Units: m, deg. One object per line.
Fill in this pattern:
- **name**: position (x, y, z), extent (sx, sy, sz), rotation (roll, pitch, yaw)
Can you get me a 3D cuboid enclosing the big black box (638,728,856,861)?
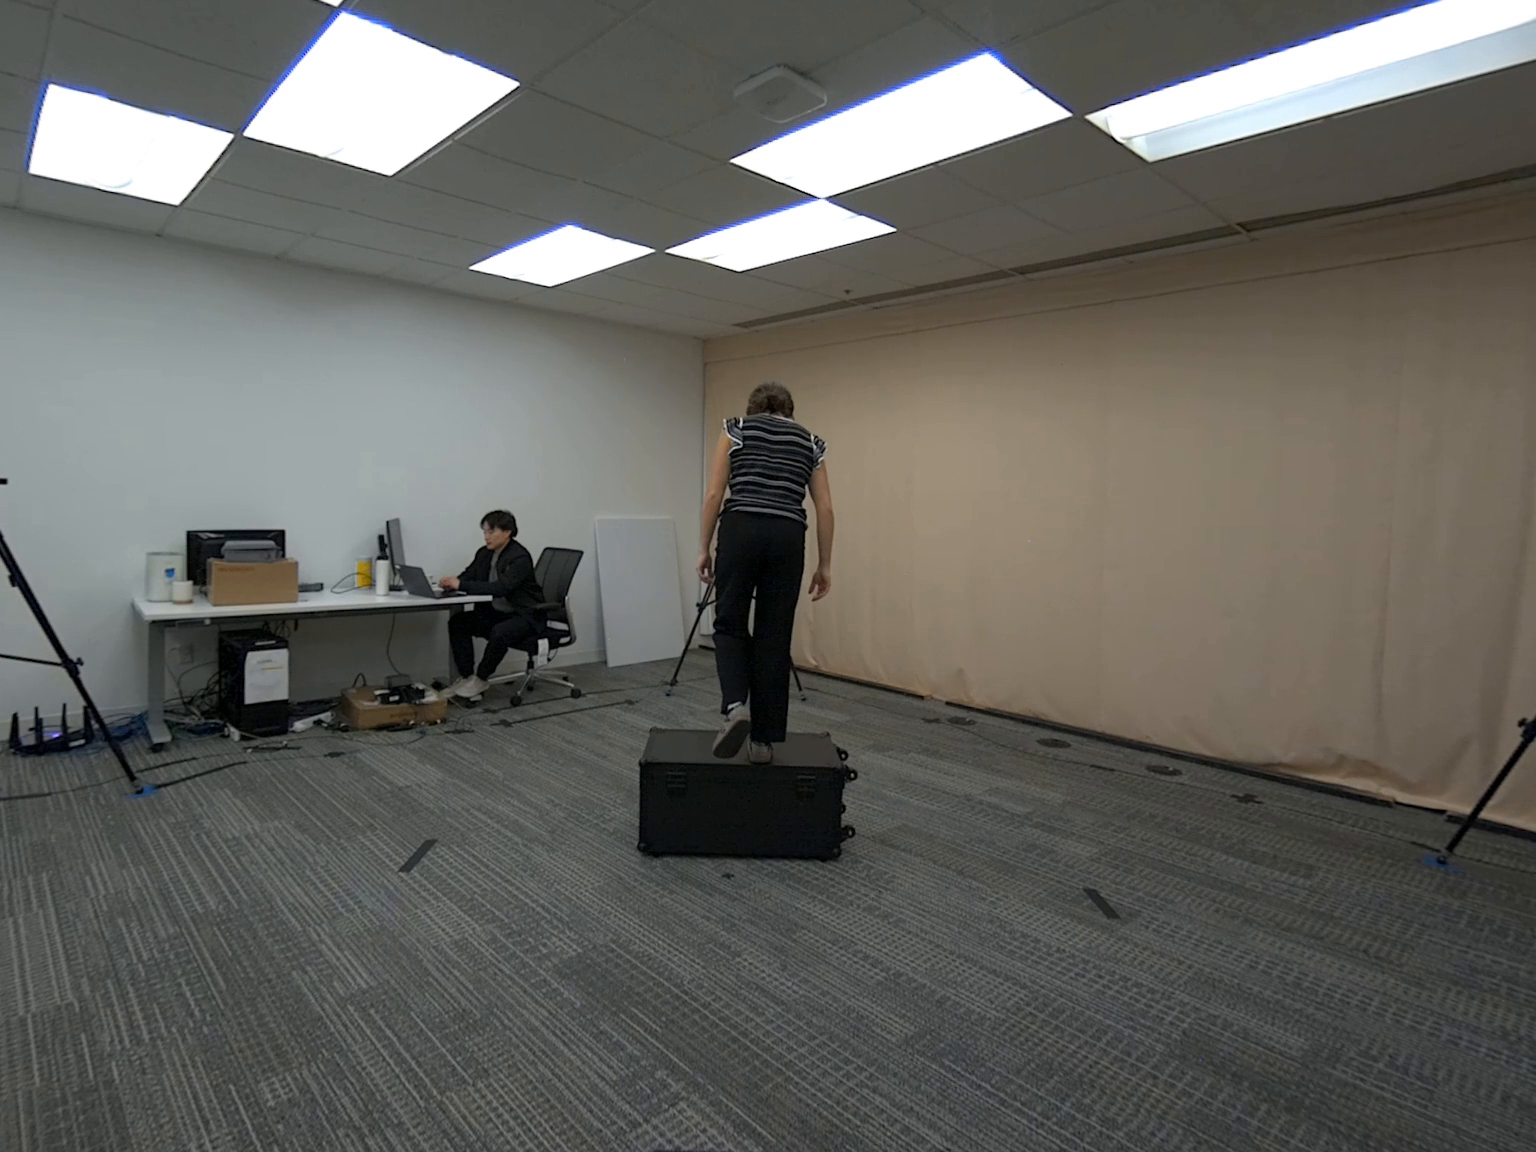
- **big black box**: position (-0.091, 0.883, 3.465), extent (0.861, 0.395, 0.523), rotation (1, 4, -1)
